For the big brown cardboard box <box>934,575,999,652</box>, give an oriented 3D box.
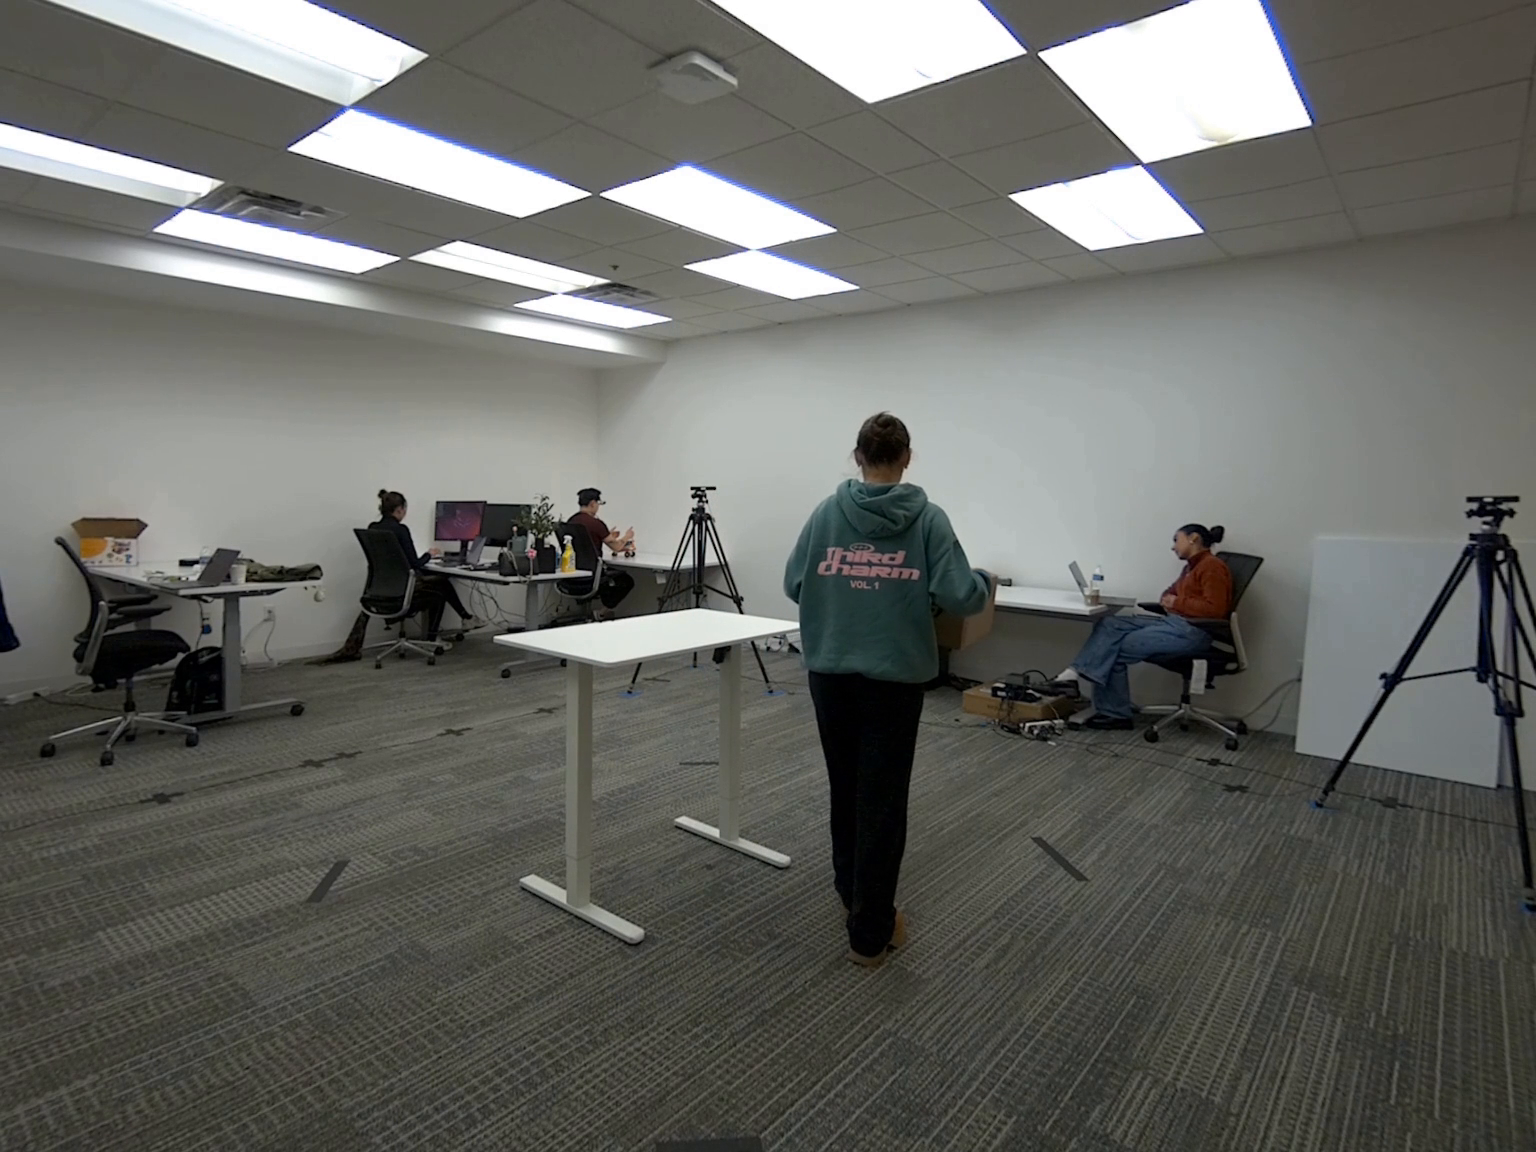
[{"bbox_3d":[0.525,0.071,2.991,0.429,0.232,0.575,6,6,25],"label":"big brown cardboard box"}]
